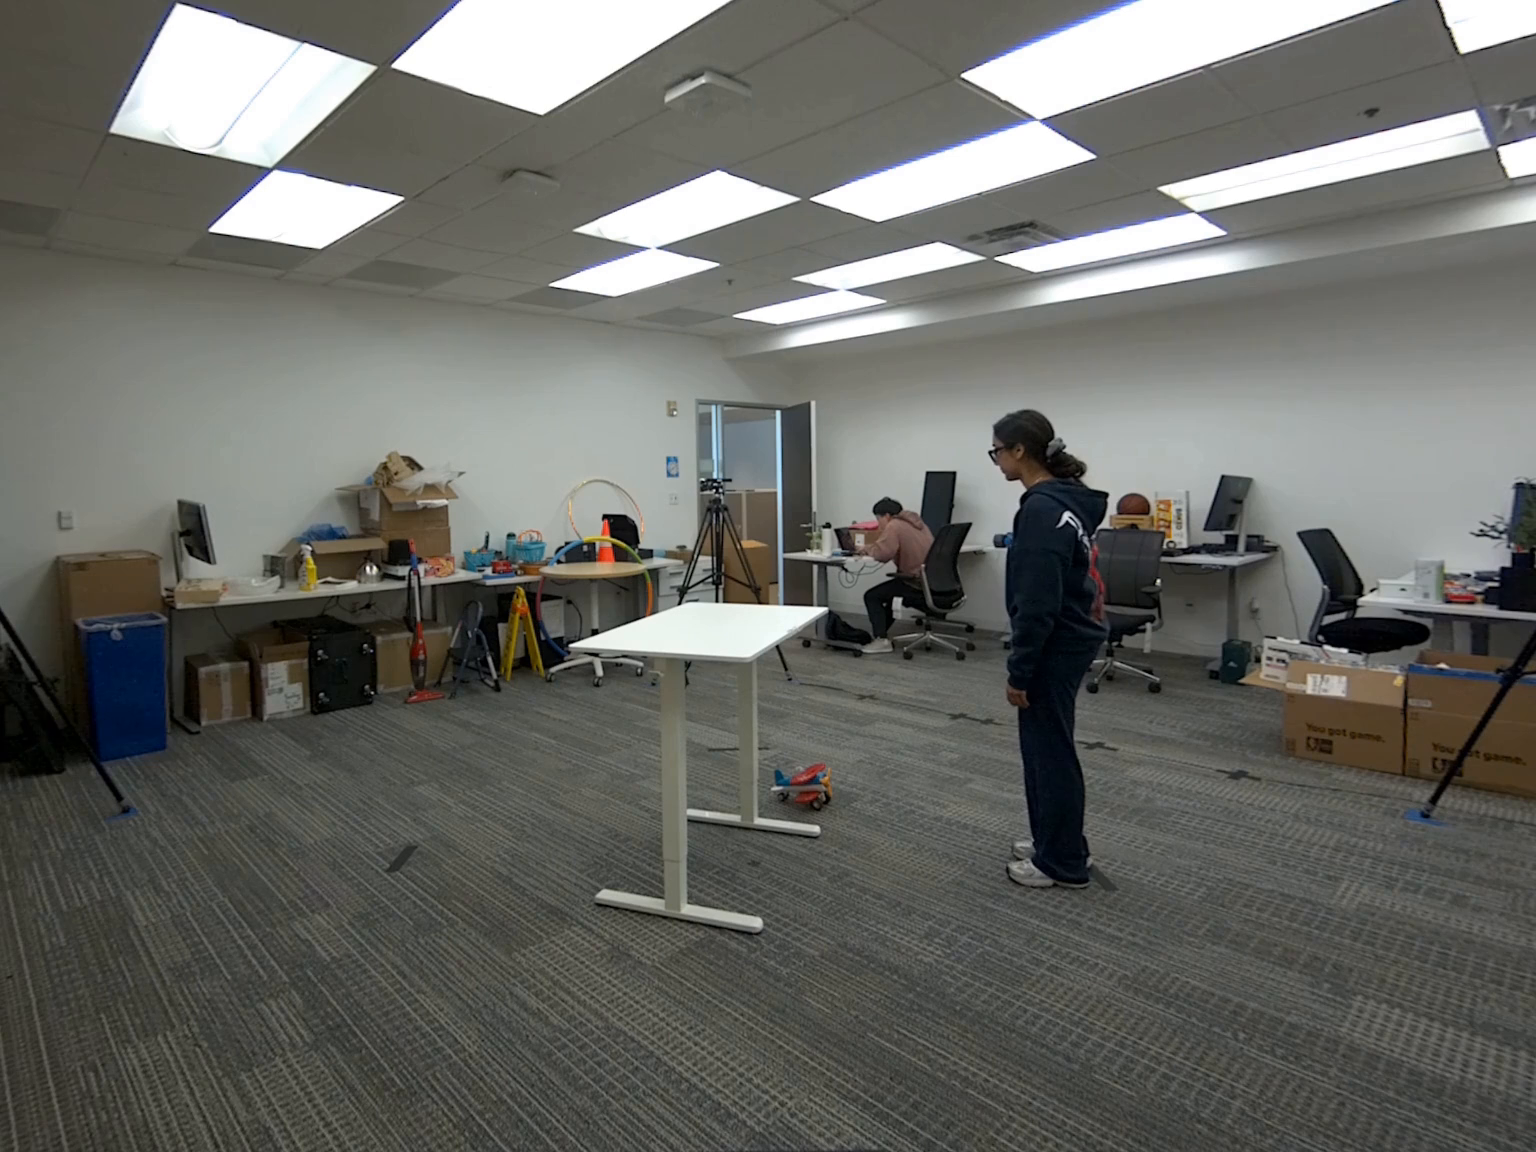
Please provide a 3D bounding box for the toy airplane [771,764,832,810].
[{"bbox_3d":[0.144,0.911,3.639,0.260,0.156,0.252,0,5,1],"label":"toy airplane"}]
